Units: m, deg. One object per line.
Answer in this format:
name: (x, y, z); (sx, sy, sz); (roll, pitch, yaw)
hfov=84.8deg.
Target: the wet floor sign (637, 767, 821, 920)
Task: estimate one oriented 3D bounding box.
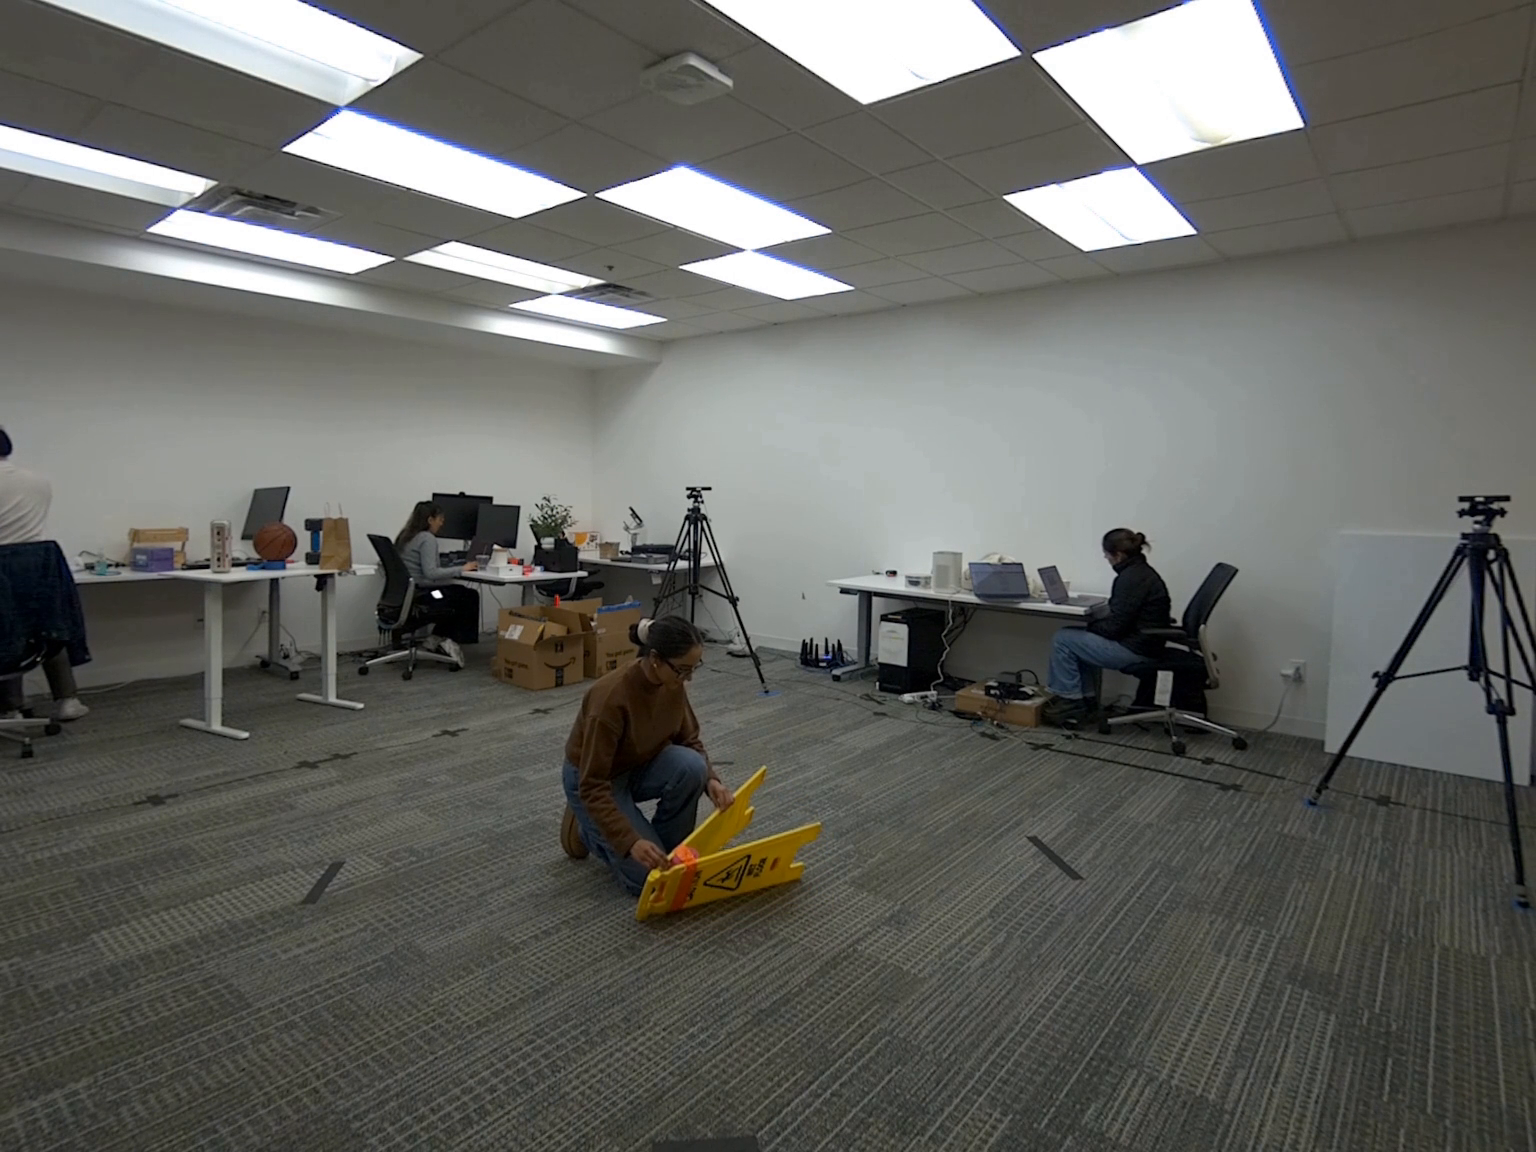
wet floor sign: (-0.176, 0.942, 2.849); (0.630, 0.278, 0.301); (-15, 42, -42)
